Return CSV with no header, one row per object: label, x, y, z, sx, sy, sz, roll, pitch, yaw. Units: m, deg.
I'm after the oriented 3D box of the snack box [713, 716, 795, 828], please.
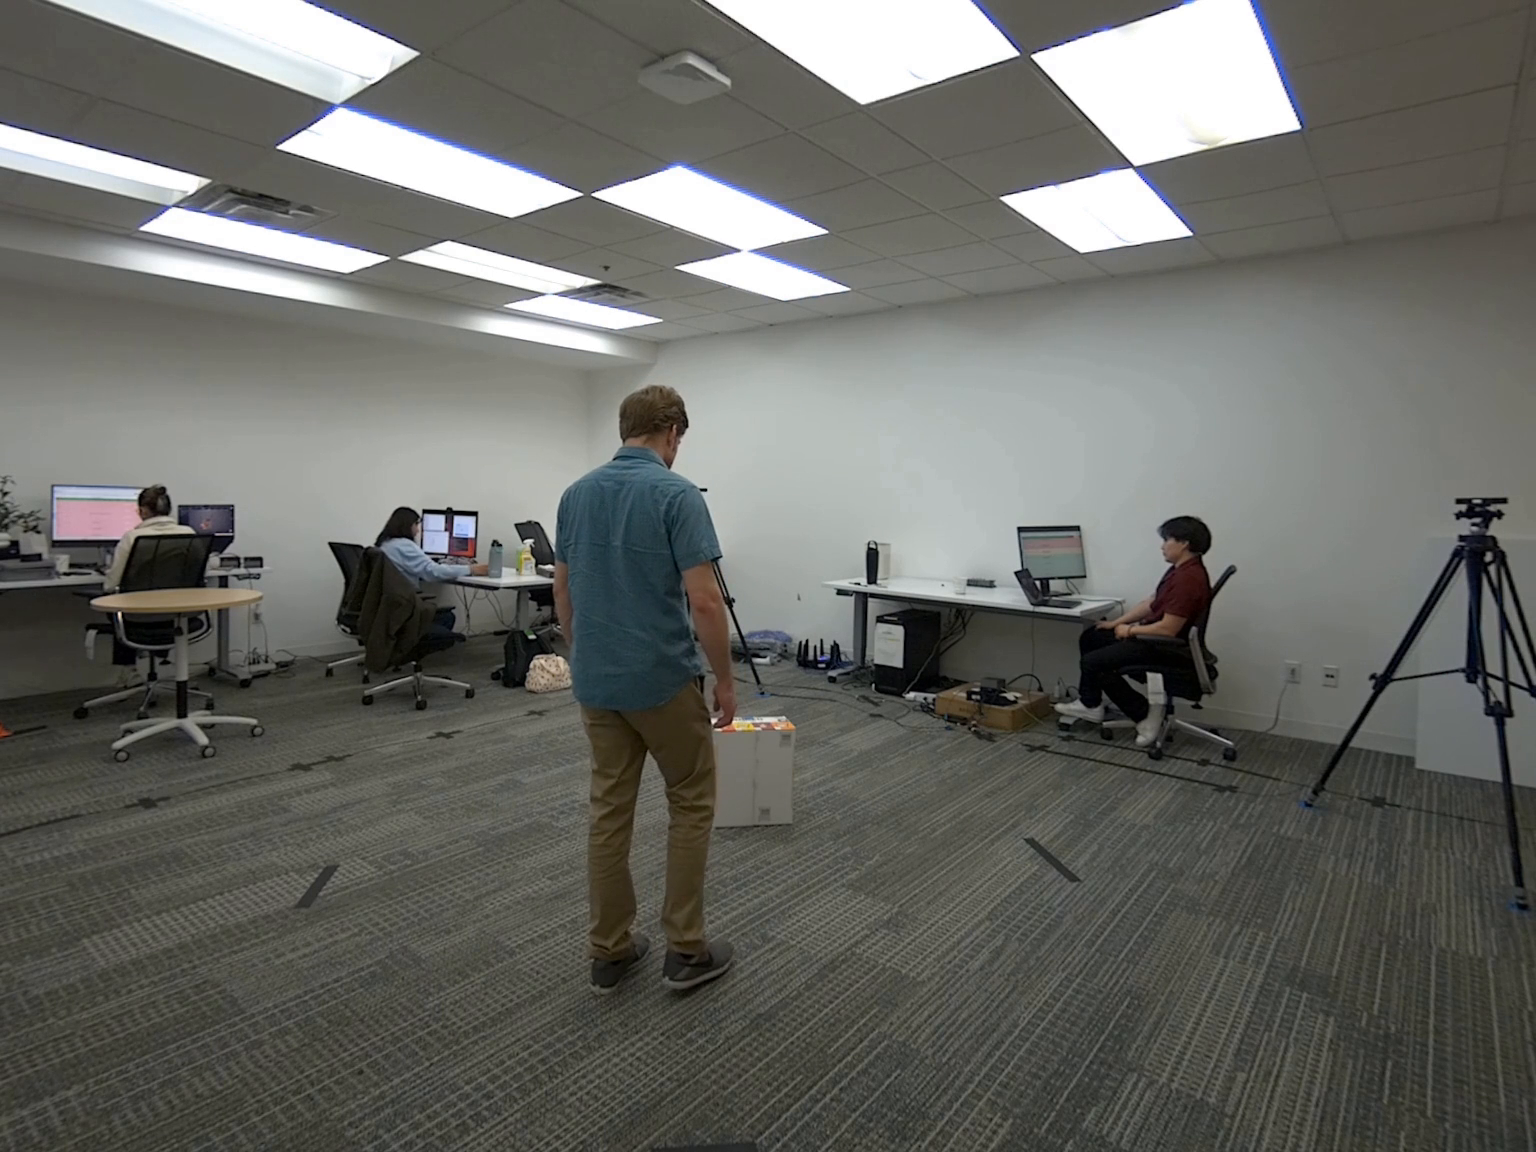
snack box,-0.082,0.824,3.603,0.337,0.404,0.208,0,3,-9
